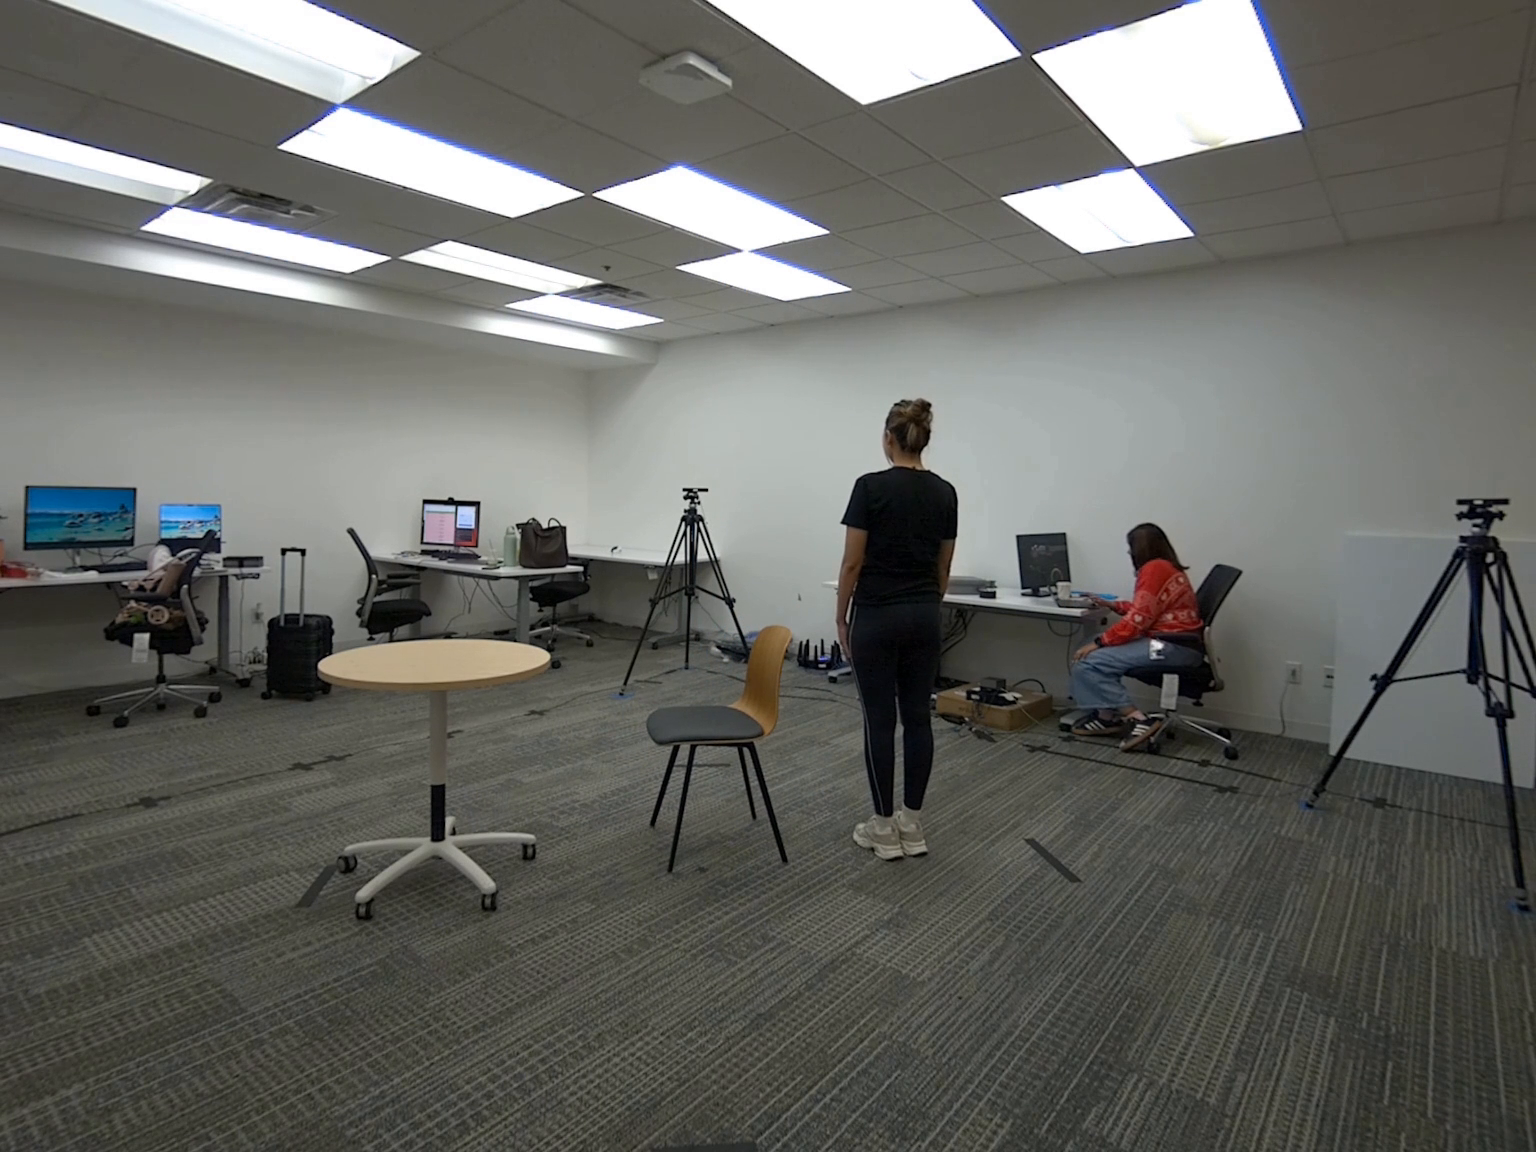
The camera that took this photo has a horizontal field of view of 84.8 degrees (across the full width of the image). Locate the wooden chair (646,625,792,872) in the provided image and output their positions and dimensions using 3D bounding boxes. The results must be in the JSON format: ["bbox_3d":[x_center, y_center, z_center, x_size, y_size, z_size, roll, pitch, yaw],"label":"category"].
[{"bbox_3d":[-0.215,0.626,3.311,0.515,0.875,0.487,4,3,-15],"label":"wooden chair"}]
